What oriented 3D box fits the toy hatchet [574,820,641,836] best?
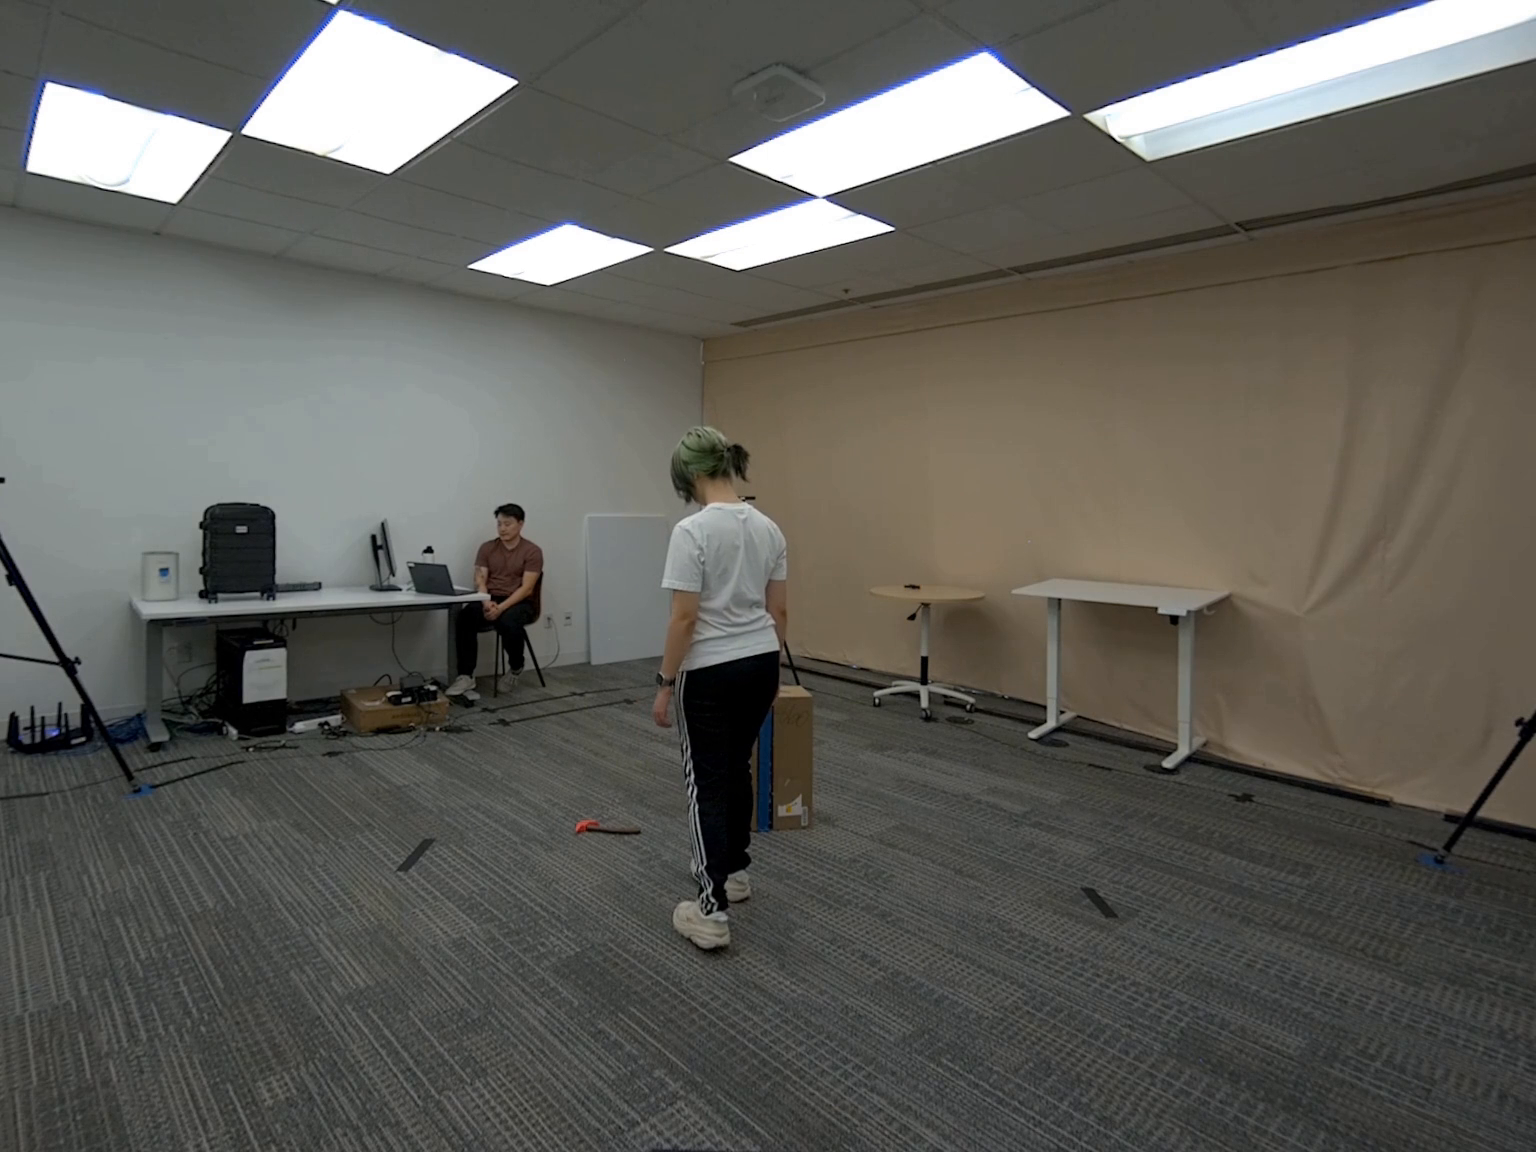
[{"bbox_3d":[-0.673,1.046,3.509,0.269,0.029,0.132,3,2,-5],"label":"toy hatchet"}]
